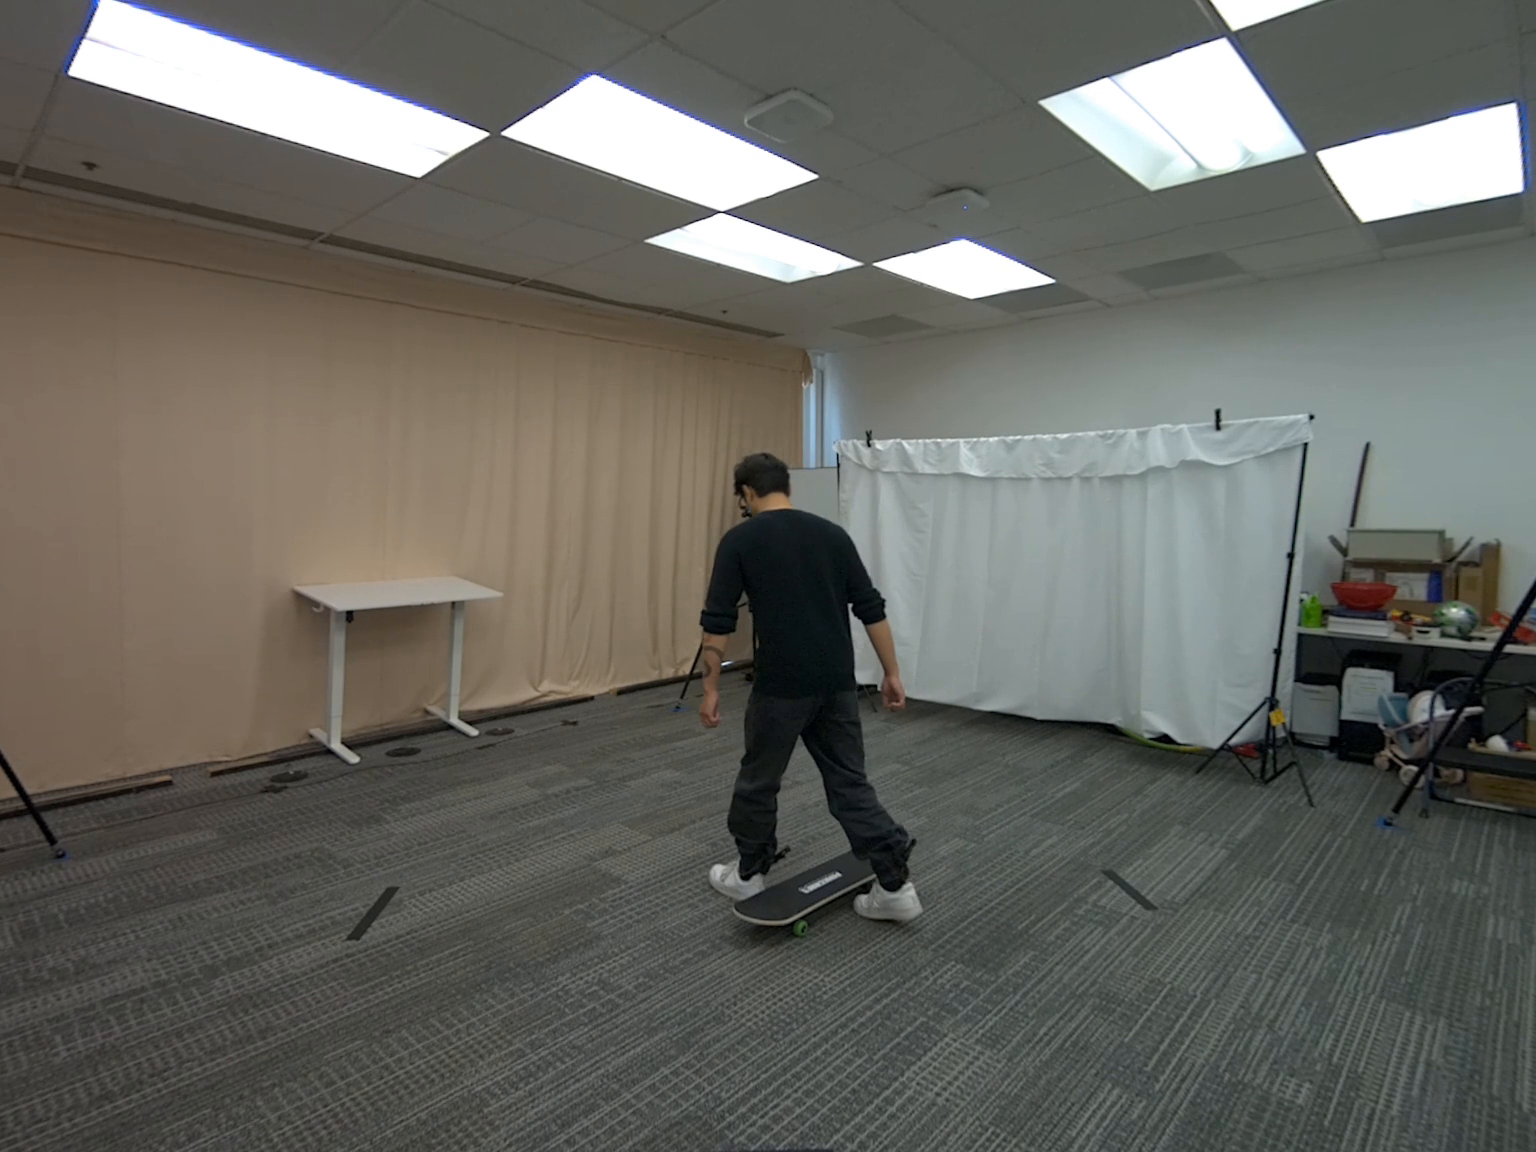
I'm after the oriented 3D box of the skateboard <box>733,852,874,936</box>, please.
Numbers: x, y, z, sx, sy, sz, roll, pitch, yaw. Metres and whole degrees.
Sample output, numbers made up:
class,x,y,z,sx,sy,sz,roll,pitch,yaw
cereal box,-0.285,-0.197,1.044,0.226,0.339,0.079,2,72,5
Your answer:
class,x,y,z,sx,sy,sz,roll,pitch,yaw
skateboard,0.186,1.090,2.914,0.200,0.110,0.761,4,6,44
